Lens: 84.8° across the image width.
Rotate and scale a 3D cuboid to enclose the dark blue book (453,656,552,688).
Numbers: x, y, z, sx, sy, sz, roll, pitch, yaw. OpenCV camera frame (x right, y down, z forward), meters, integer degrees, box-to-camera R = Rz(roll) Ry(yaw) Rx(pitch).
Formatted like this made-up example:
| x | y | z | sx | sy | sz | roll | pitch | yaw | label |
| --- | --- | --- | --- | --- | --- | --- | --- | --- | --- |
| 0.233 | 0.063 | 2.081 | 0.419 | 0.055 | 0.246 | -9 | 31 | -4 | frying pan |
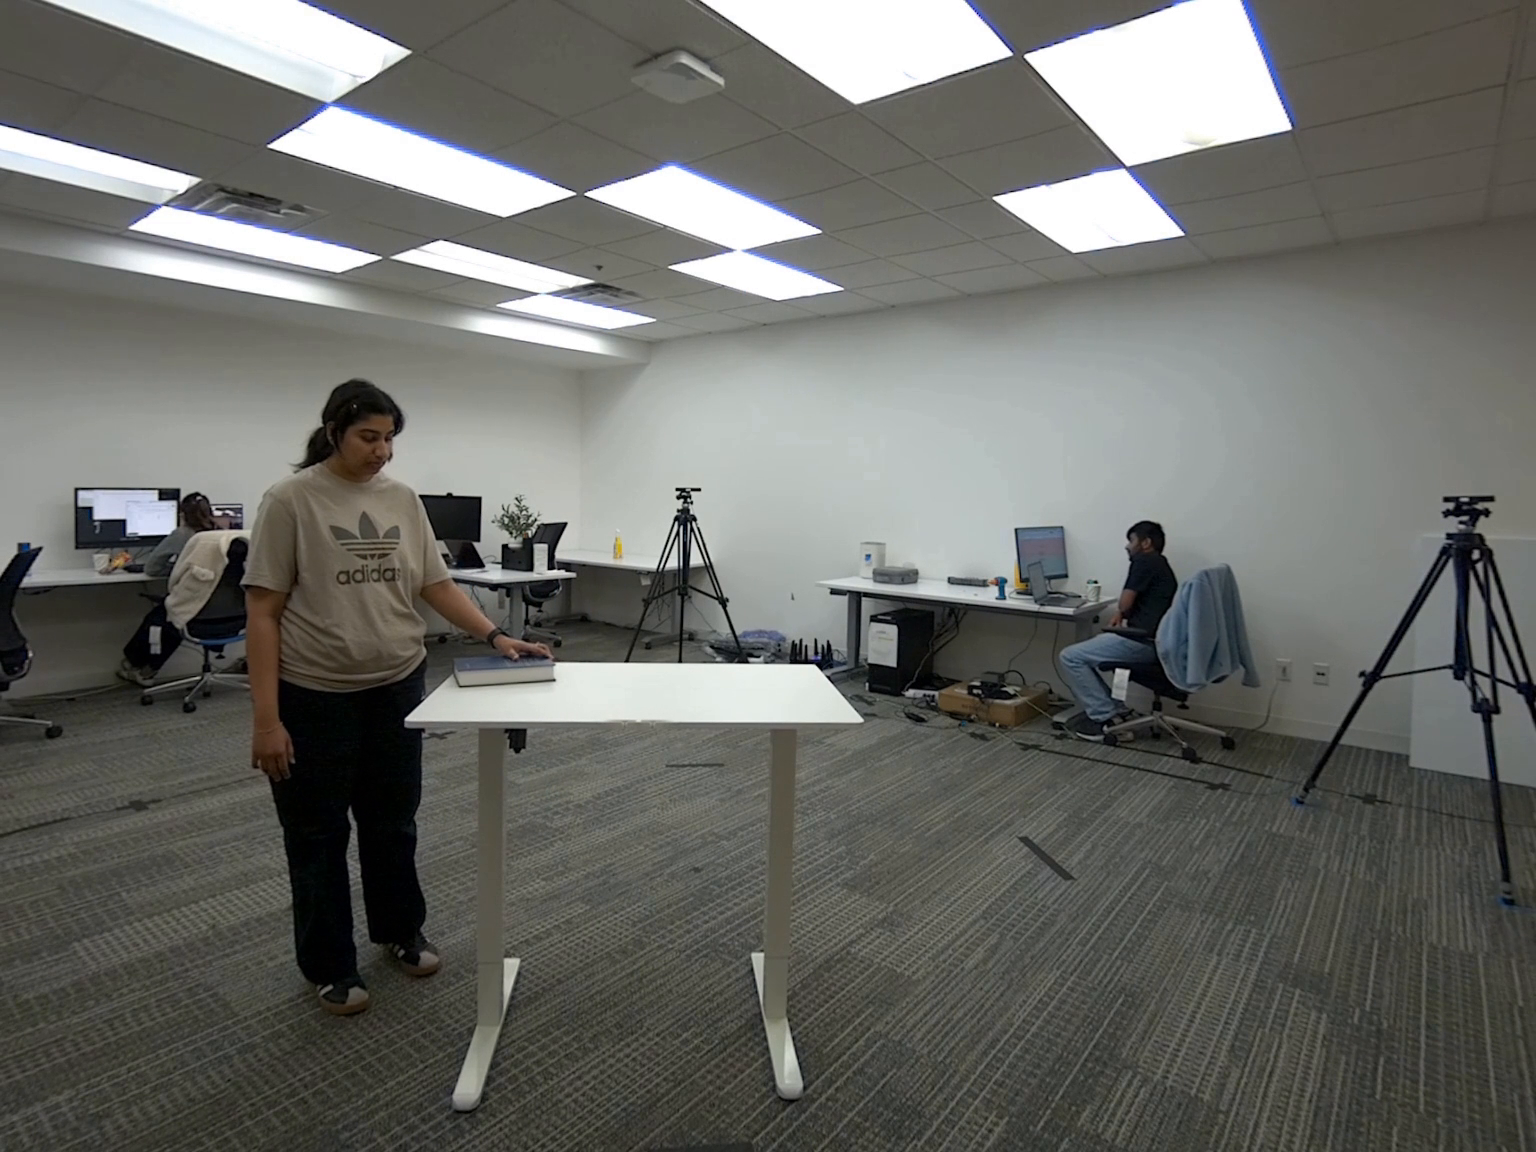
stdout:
| x | y | z | sx | sy | sz | roll | pitch | yaw | label |
| --- | --- | --- | --- | --- | --- | --- | --- | --- | --- |
| -0.726 | 0.251 | 2.228 | 0.241 | 0.045 | 0.167 | -1 | 7 | -17 | dark blue book |
